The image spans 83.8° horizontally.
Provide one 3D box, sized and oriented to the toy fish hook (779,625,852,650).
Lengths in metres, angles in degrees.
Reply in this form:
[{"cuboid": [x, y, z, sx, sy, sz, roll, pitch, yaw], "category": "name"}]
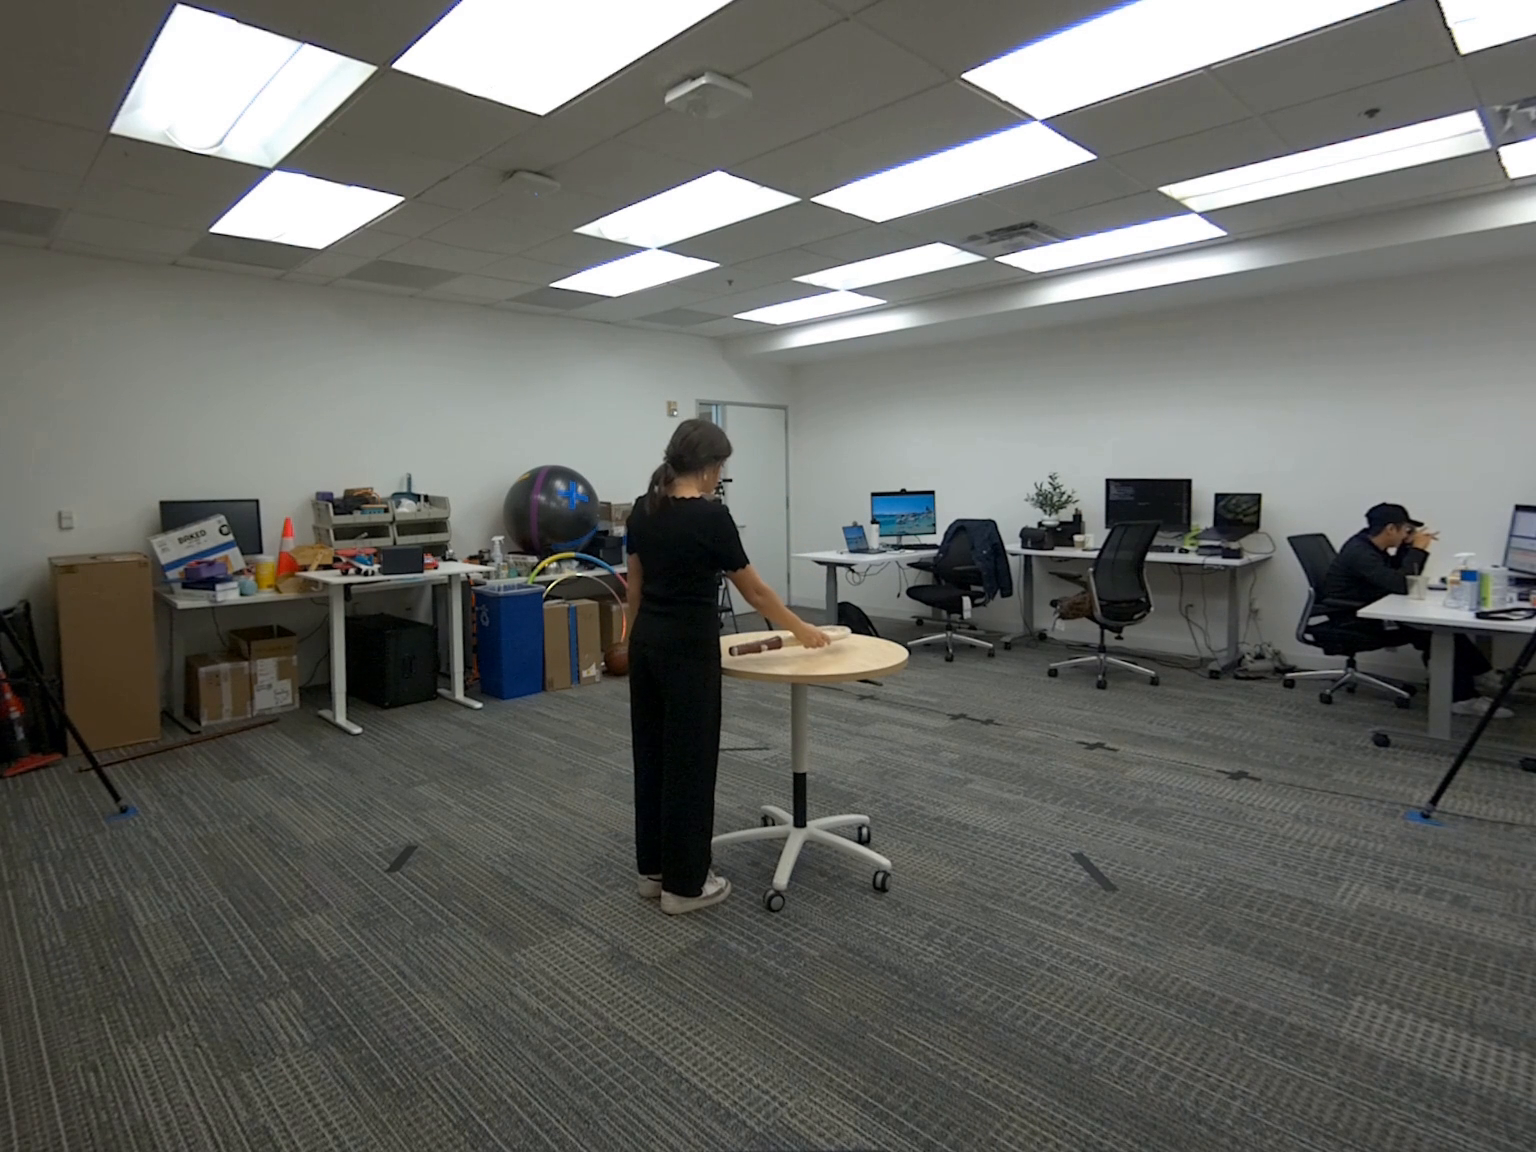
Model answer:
[{"cuboid": [0.055, 0.228, 3.006, 0.495, 0.048, 0.229, -6, 1, -29], "category": "toy fish hook"}]
